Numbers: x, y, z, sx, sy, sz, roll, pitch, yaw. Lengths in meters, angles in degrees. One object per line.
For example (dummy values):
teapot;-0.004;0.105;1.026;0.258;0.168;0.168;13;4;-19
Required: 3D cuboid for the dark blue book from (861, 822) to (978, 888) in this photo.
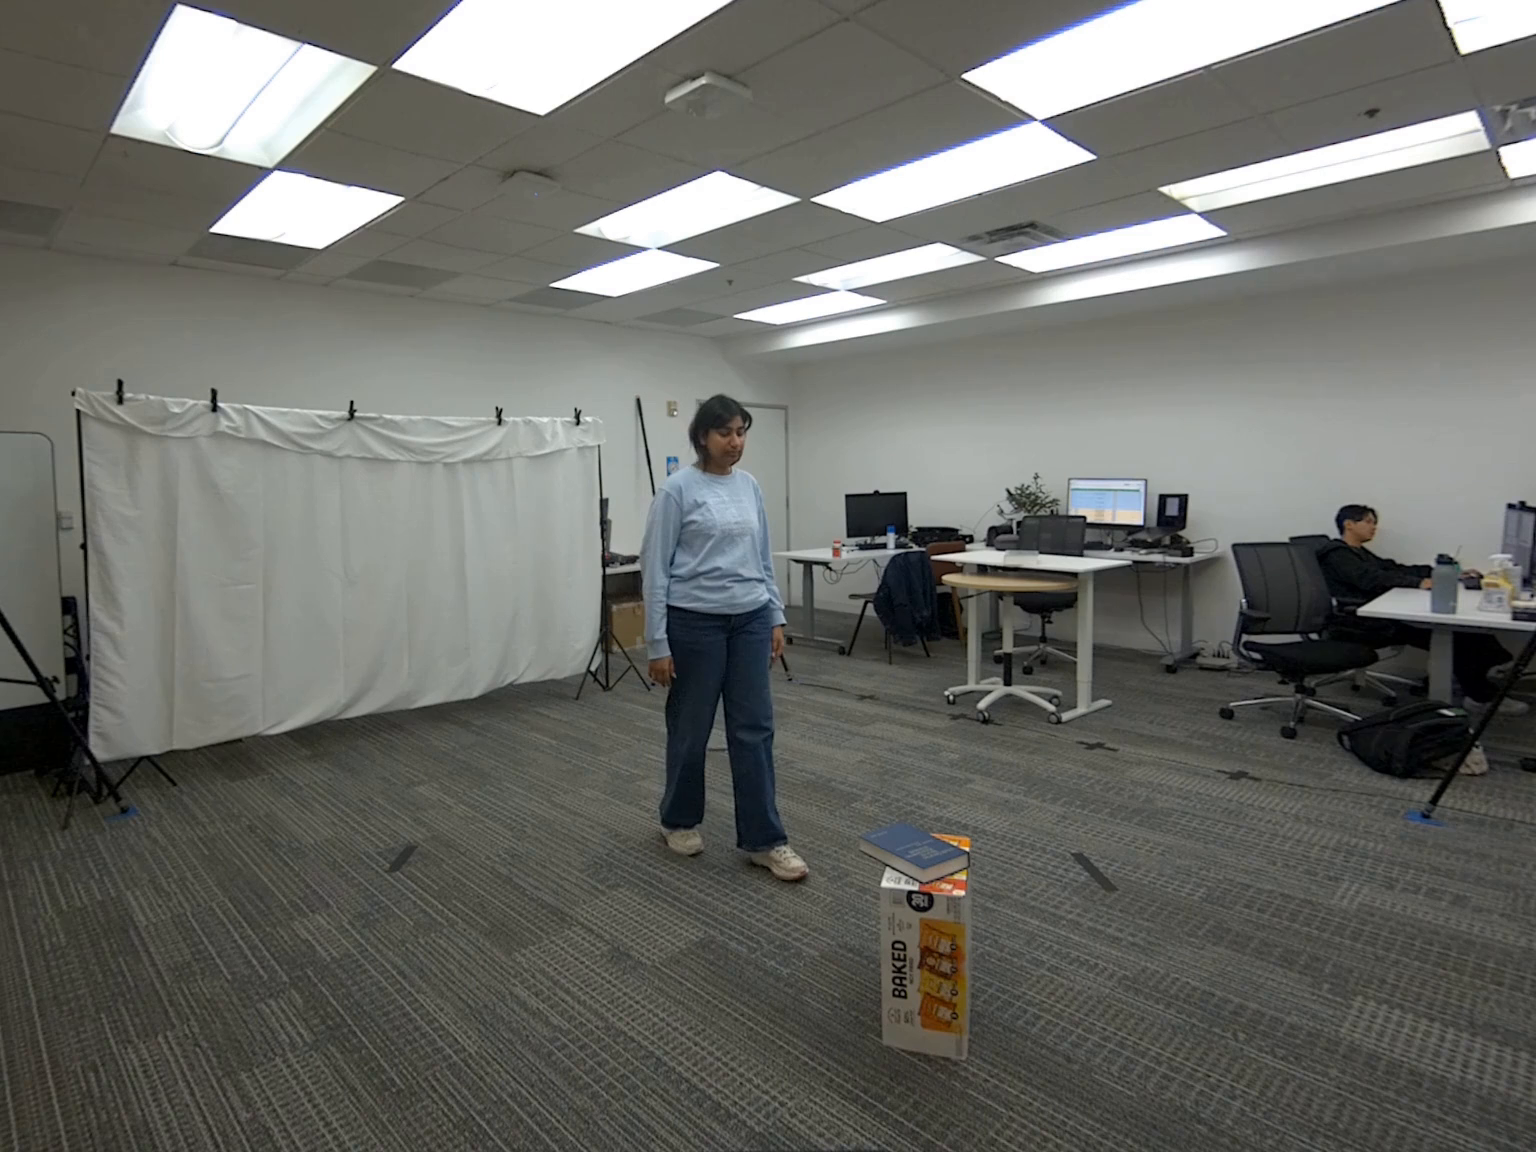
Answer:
dark blue book;0.385;0.714;2.212;0.159;0.045;0.252;-6;6;-33
